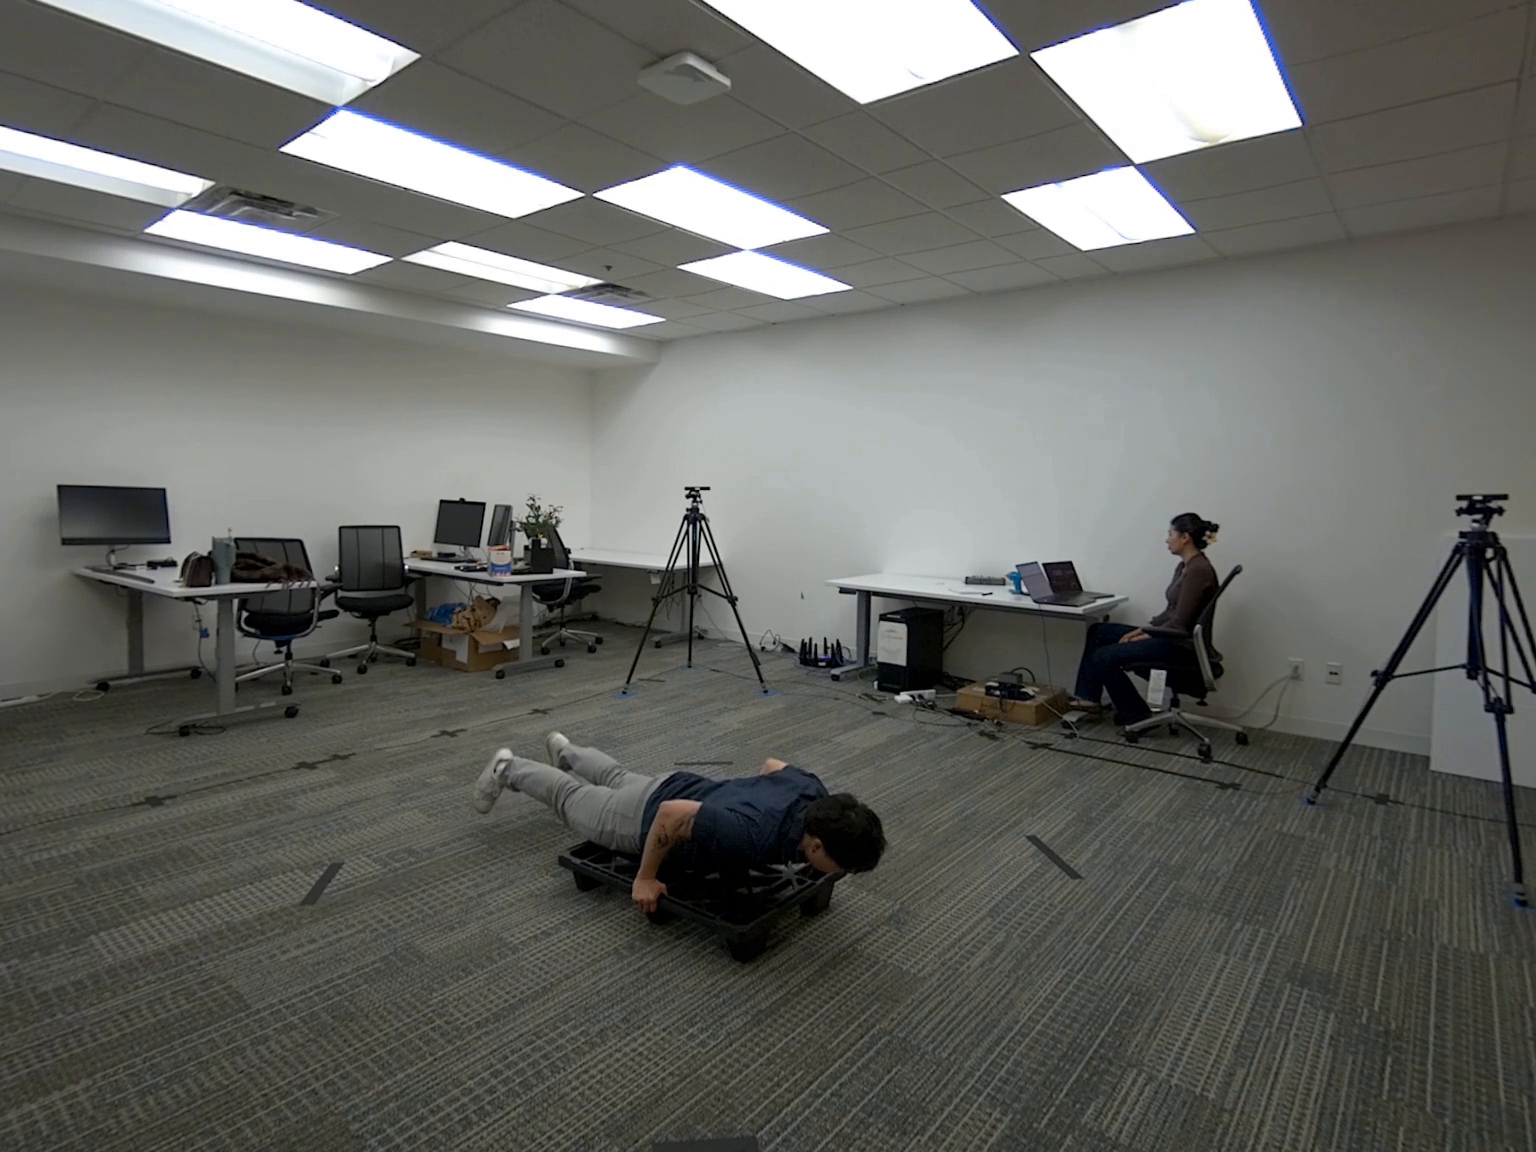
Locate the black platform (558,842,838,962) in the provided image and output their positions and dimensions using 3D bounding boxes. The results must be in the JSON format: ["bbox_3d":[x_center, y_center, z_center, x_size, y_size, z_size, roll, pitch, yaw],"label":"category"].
[{"bbox_3d":[-0.238,1.025,2.881,0.832,0.143,0.588,5,6,37],"label":"black platform"}]
